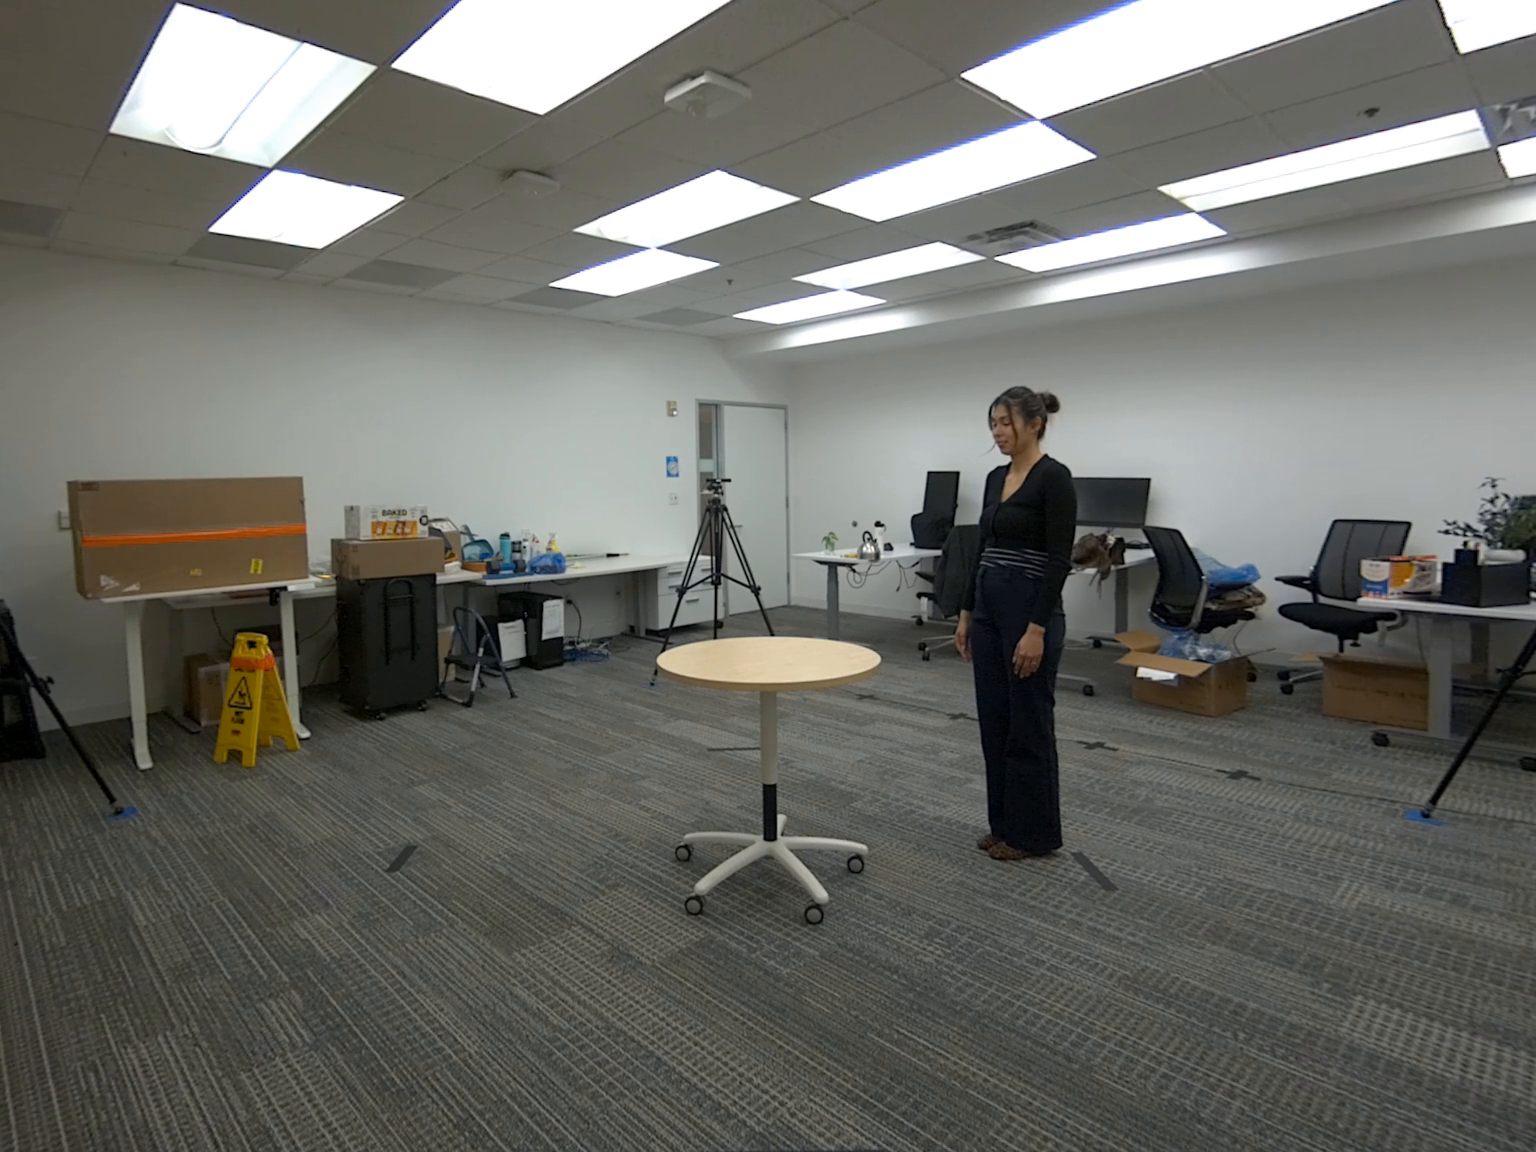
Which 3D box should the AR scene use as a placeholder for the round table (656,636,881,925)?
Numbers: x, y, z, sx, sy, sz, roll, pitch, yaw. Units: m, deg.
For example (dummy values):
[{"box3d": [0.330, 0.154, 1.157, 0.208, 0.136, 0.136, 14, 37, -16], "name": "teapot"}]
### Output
[{"box3d": [0.006, 0.672, 2.966, 0.763, 0.791, 0.768, -1, 5, -2], "name": "round table"}]
